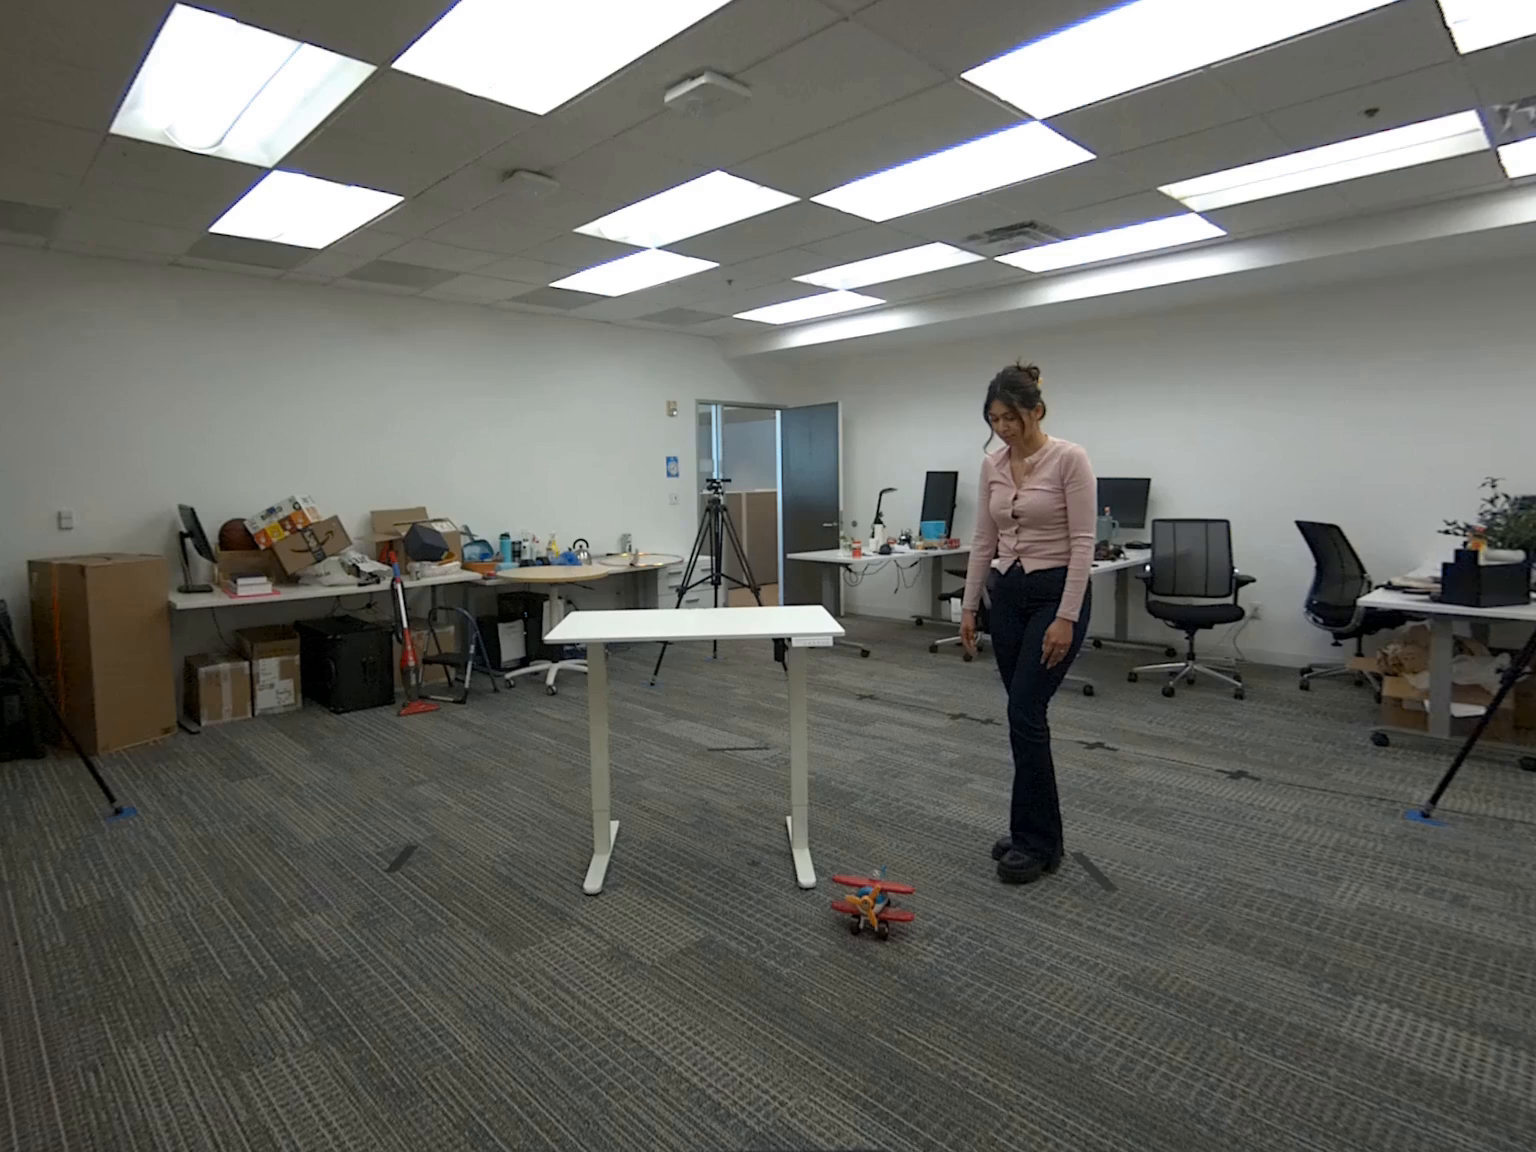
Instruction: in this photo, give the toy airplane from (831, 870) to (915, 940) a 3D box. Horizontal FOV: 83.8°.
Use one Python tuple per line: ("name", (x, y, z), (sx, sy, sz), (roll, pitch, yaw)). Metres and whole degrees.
("toy airplane", (0.321, 1.013, 2.681), (0.249, 0.155, 0.263), (-3, 7, -8))
